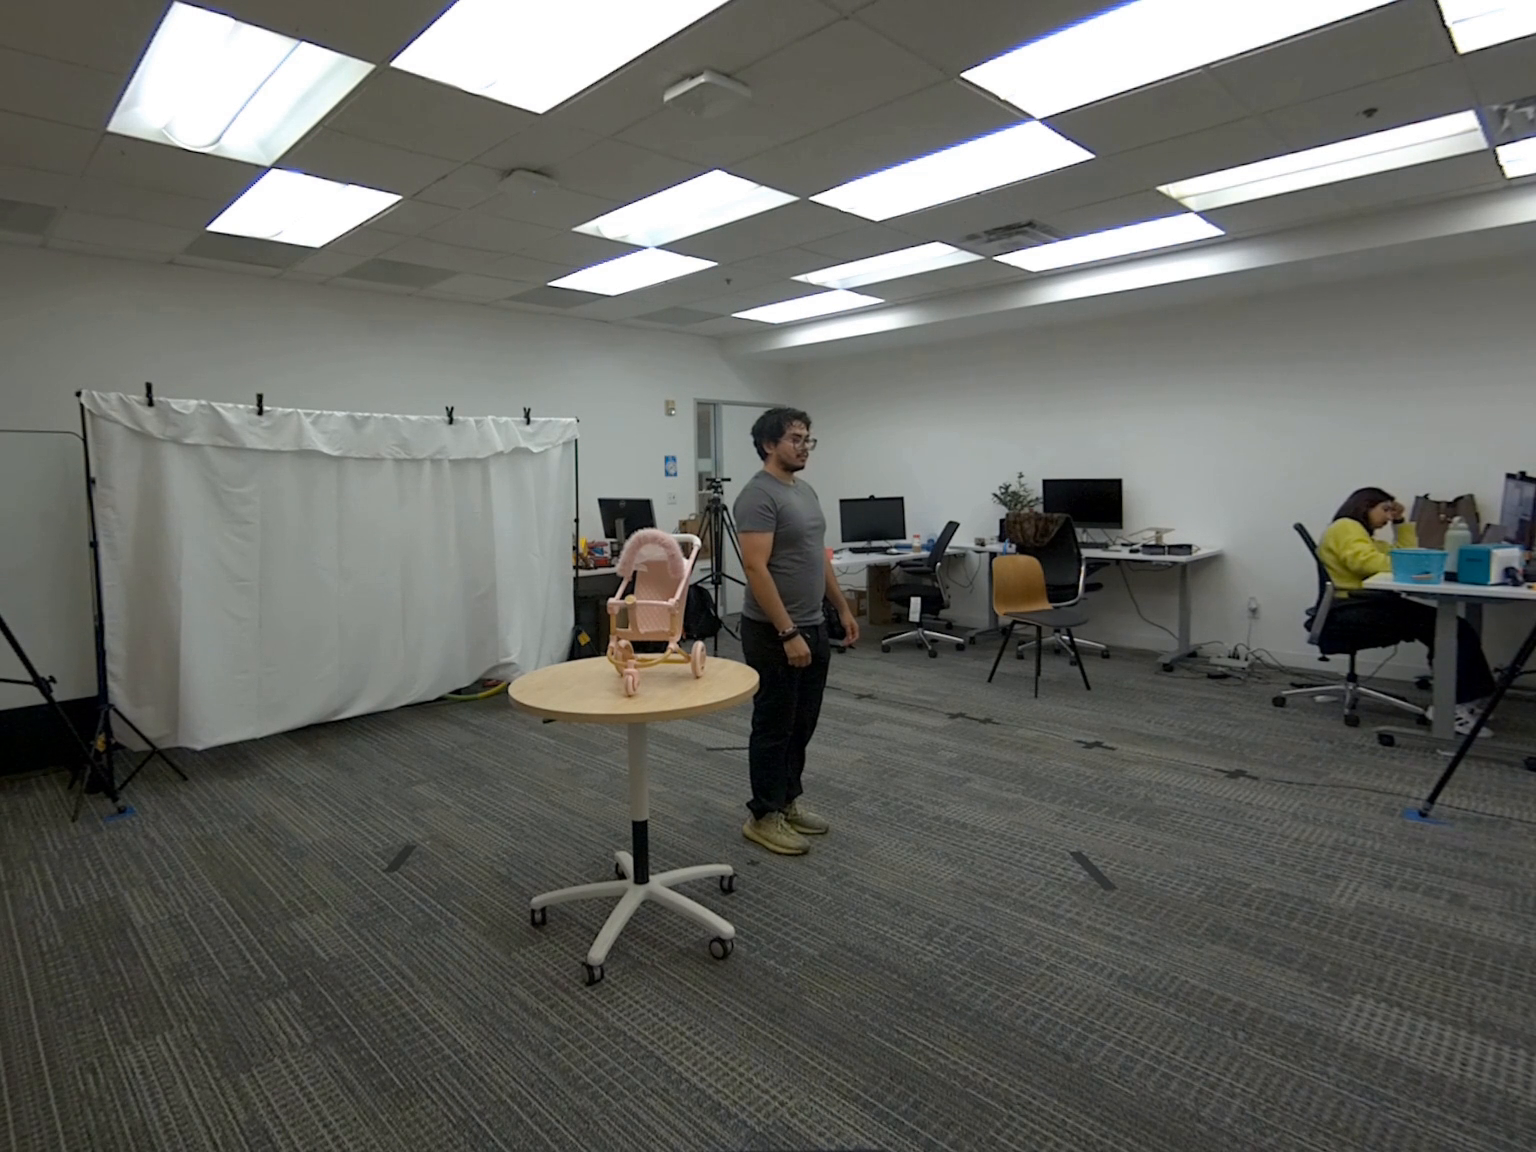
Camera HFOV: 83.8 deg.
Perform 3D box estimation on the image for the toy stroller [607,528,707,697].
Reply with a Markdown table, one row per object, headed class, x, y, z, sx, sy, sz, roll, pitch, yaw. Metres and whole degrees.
| class | x | y | z | sx | sy | sz | roll | pitch | yaw |
| --- | --- | --- | --- | --- | --- | --- | --- | --- | --- |
| toy stroller | -0.357 | 0.100 | 2.605 | 0.286 | 0.540 | 0.332 | 0 | -11 | 16 |
